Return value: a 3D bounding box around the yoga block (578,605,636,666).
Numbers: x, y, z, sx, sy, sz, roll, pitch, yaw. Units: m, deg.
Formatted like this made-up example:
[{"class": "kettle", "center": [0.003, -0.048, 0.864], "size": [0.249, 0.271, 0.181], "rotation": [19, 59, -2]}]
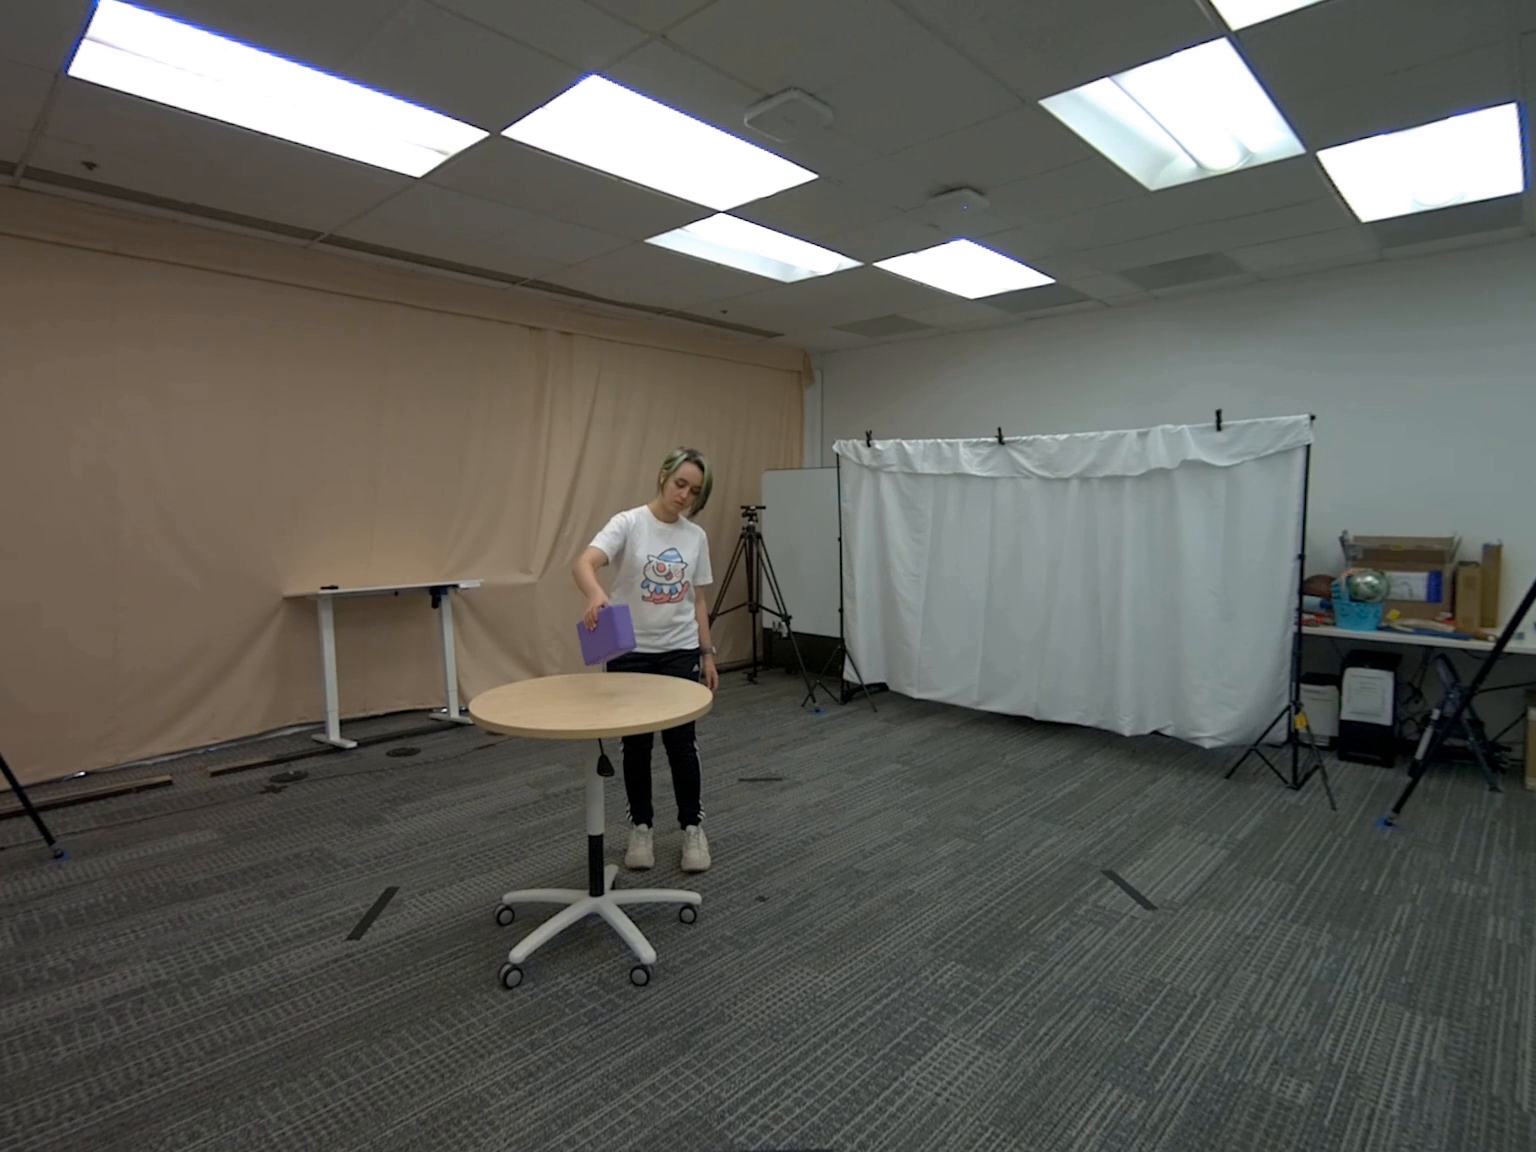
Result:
[{"class": "yoga block", "center": [-0.523, 0.184, 2.709], "size": [0.074, 0.151, 0.233], "rotation": [-2, -16, -37]}]
